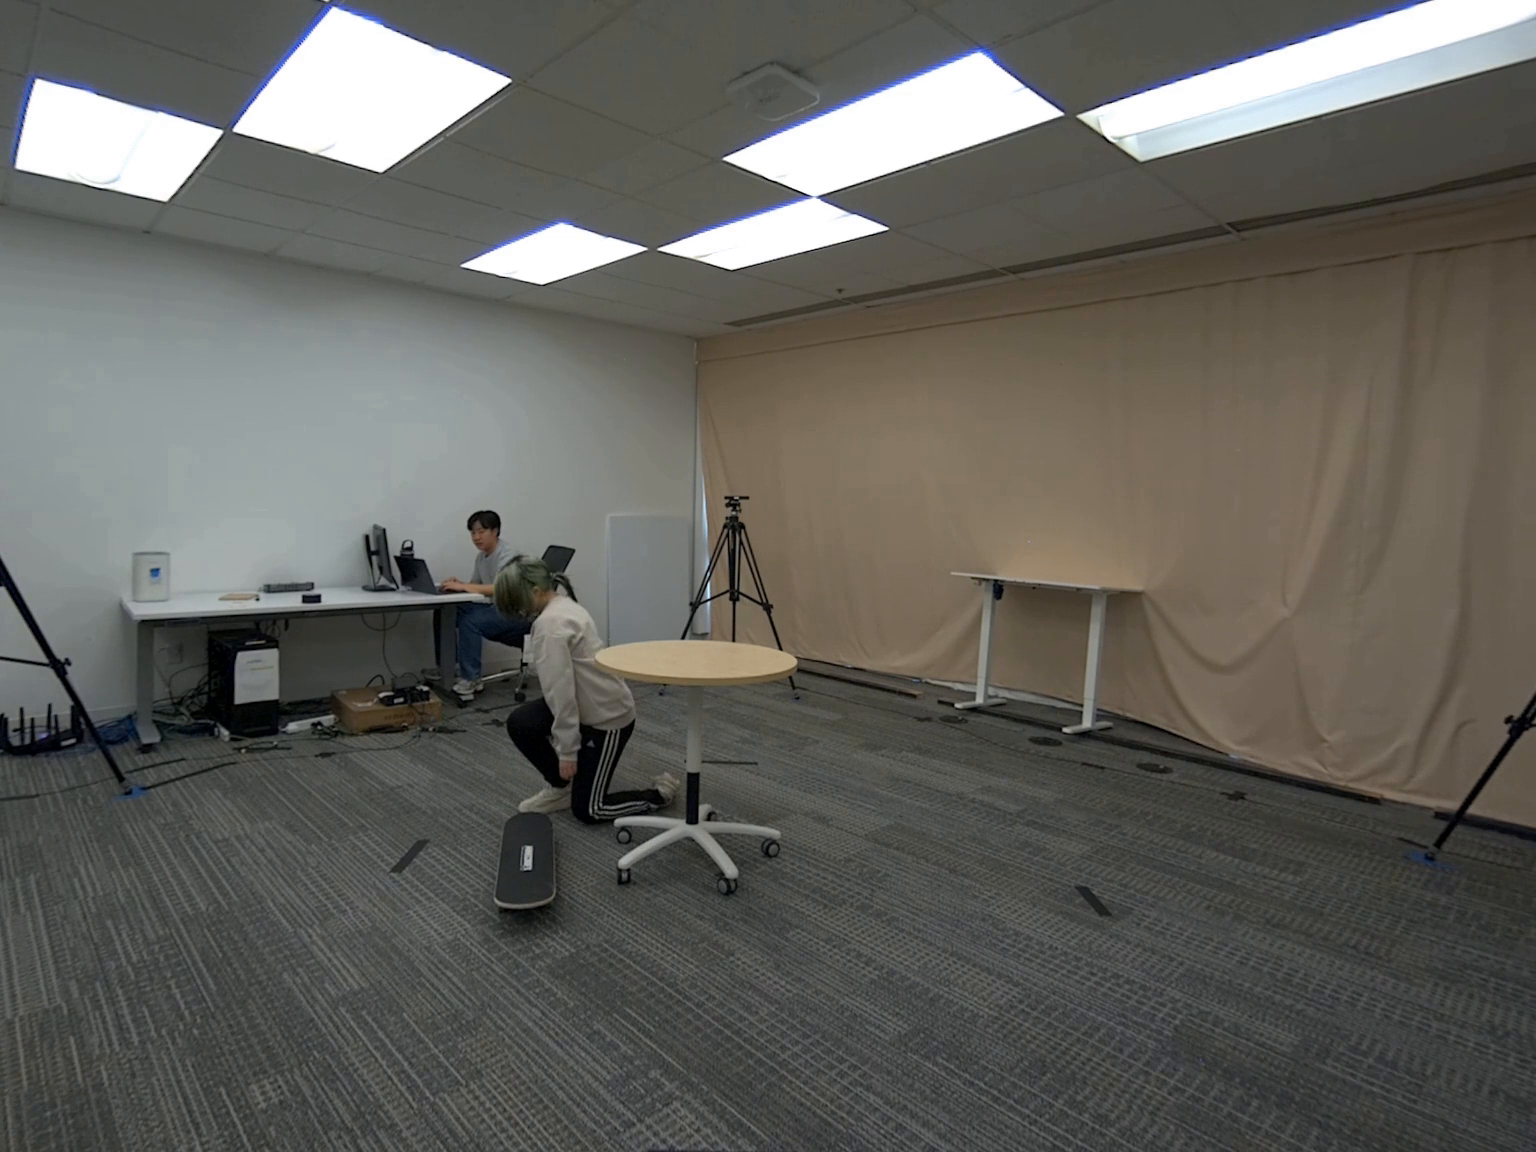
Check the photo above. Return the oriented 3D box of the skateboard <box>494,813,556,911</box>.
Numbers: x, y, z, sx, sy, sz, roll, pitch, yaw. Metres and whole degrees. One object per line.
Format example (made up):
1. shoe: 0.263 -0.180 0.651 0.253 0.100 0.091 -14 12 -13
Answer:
1. skateboard: -0.863 1.031 3.008 0.191 0.110 0.796 -1 6 -15
